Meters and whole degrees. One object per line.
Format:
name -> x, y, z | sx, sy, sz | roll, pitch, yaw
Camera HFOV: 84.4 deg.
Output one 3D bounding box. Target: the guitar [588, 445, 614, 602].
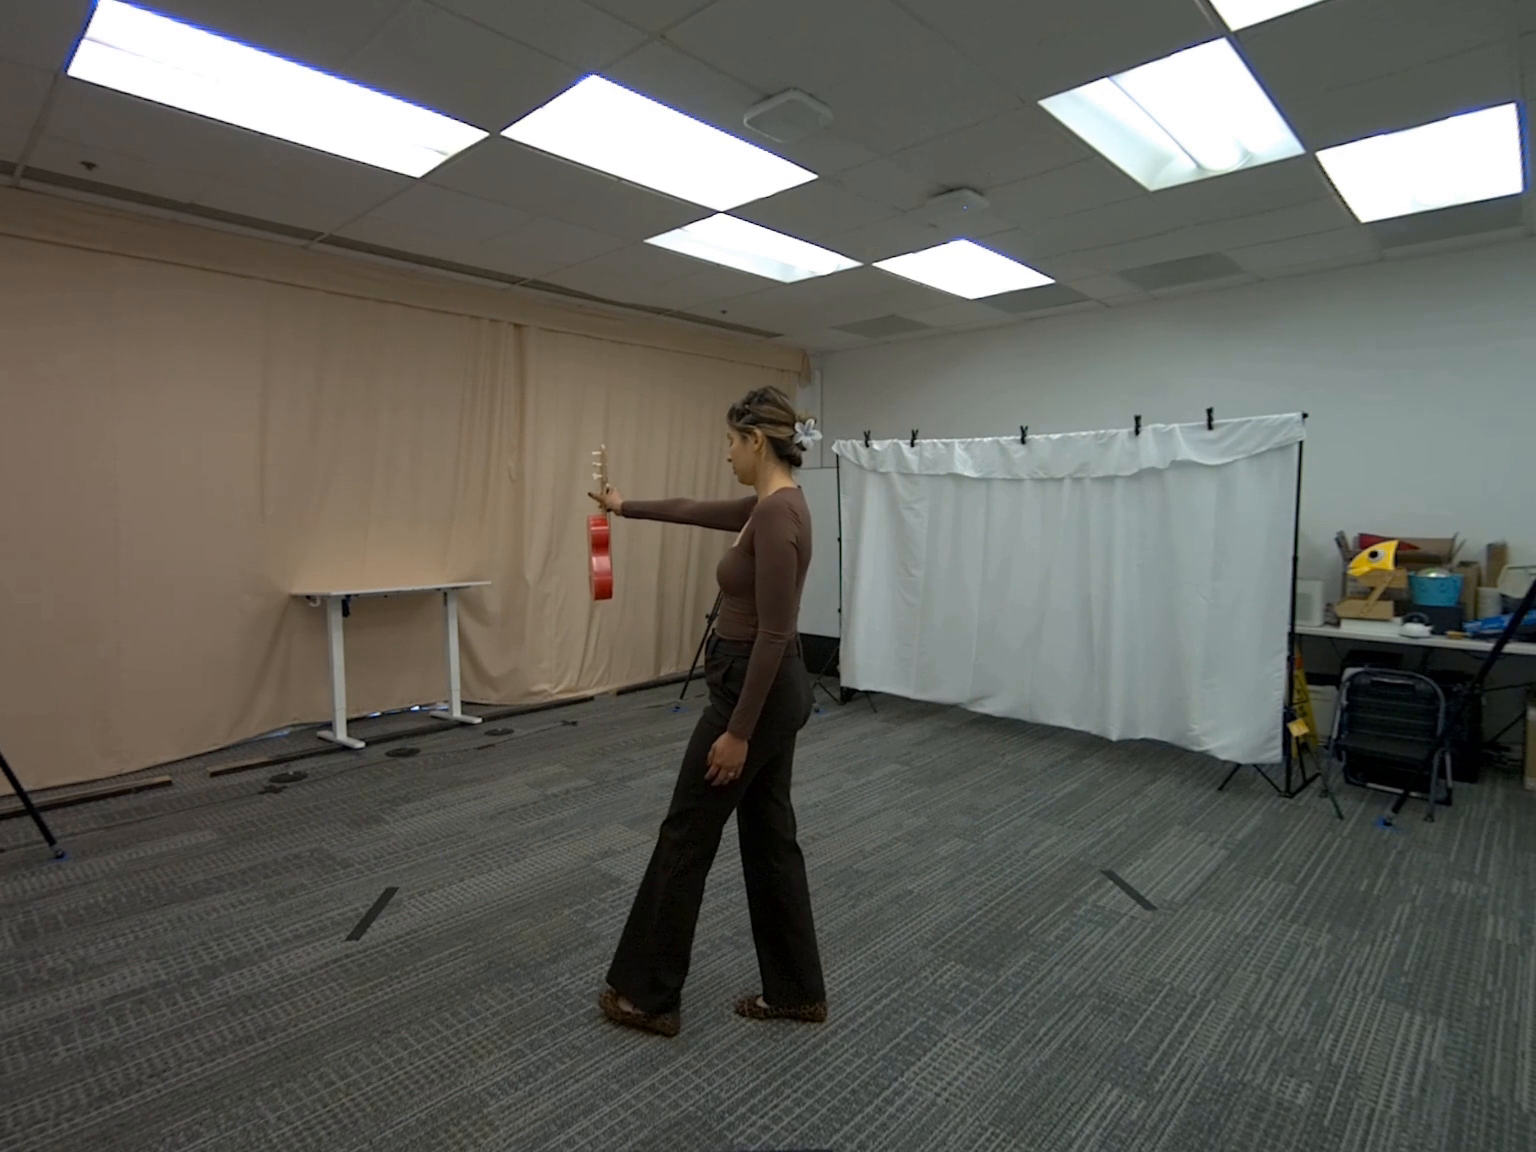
guitar -> -0.553, -0.169, 2.763 | 0.070, 0.499, 0.194 | -3, -5, -12
